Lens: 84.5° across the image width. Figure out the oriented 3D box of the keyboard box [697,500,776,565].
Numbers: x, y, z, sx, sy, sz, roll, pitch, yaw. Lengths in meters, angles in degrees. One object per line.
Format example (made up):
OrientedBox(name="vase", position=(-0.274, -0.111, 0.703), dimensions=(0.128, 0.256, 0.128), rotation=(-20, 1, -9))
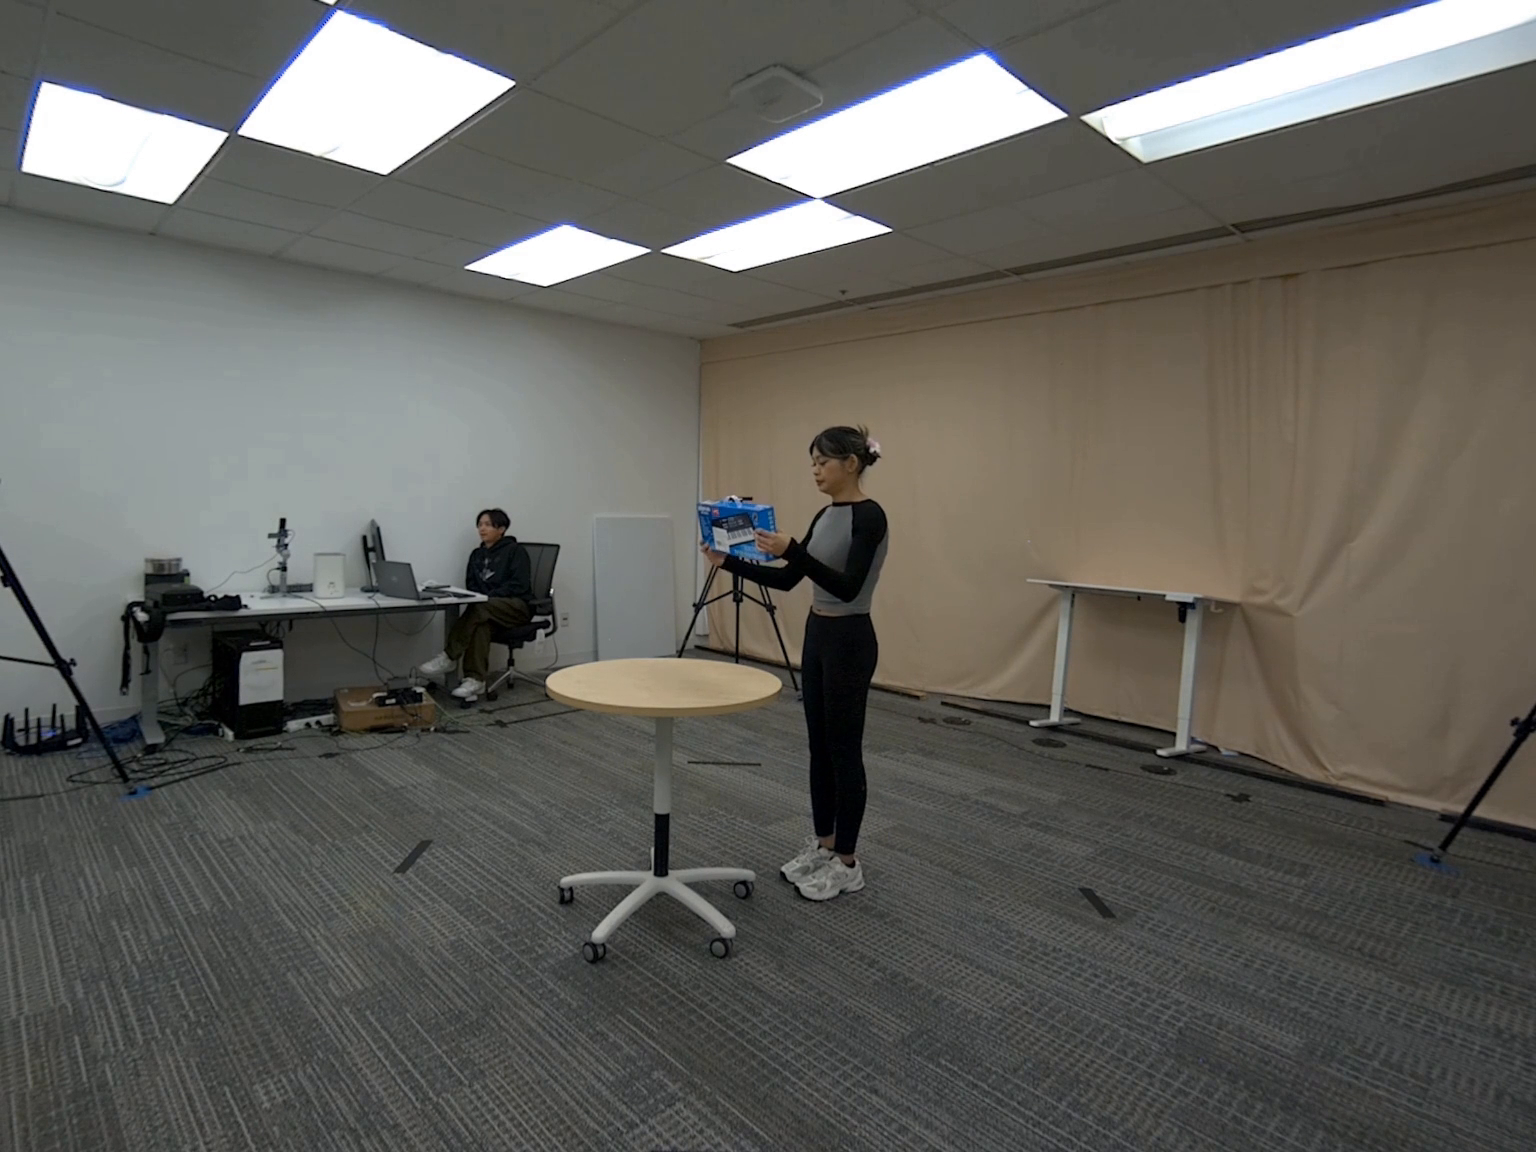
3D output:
OrientedBox(name="keyboard box", position=(-0.114, -0.155, 2.861), dimensions=(0.058, 0.174, 0.447), rotation=(-15, 15, -28))
